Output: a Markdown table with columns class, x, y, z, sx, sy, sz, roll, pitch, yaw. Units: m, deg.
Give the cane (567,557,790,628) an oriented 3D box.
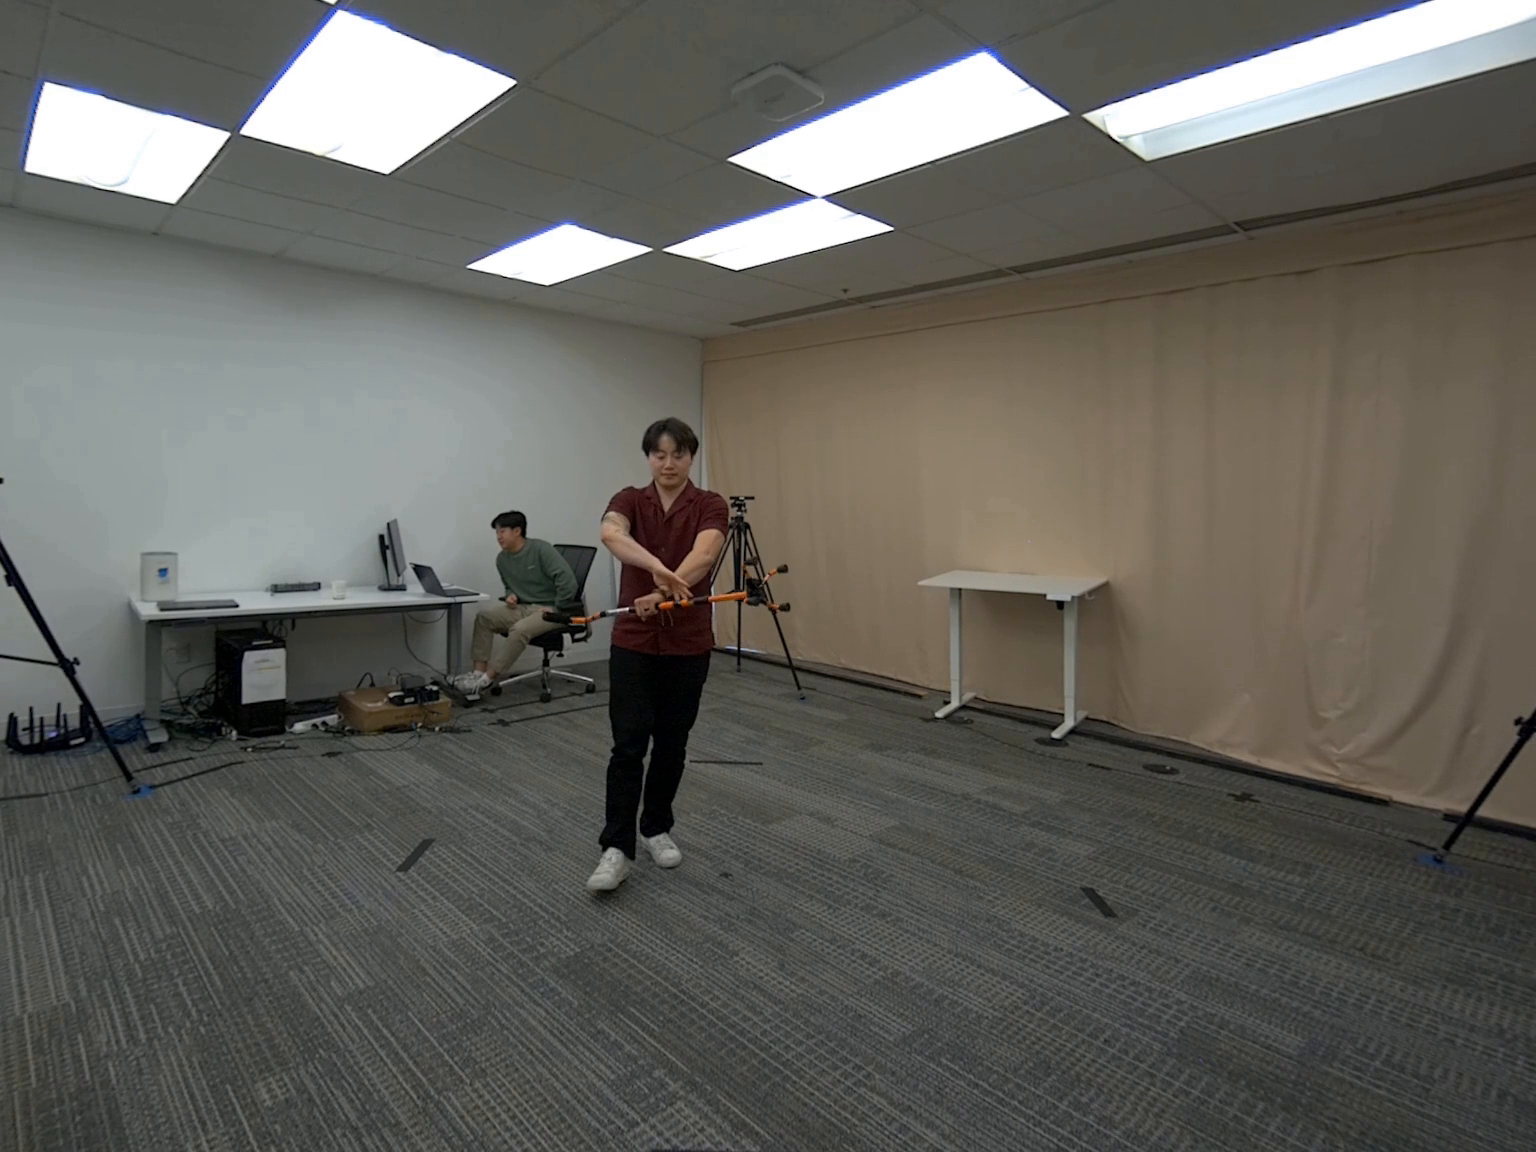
| class | x | y | z | sx | sy | sz | roll | pitch | yaw |
| --- | --- | --- | --- | --- | --- | --- | --- | --- | --- |
| cane | -0.377 | 0.095 | 2.800 | 0.924 | 0.153 | 0.201 | -9 | -14 | 33 |
